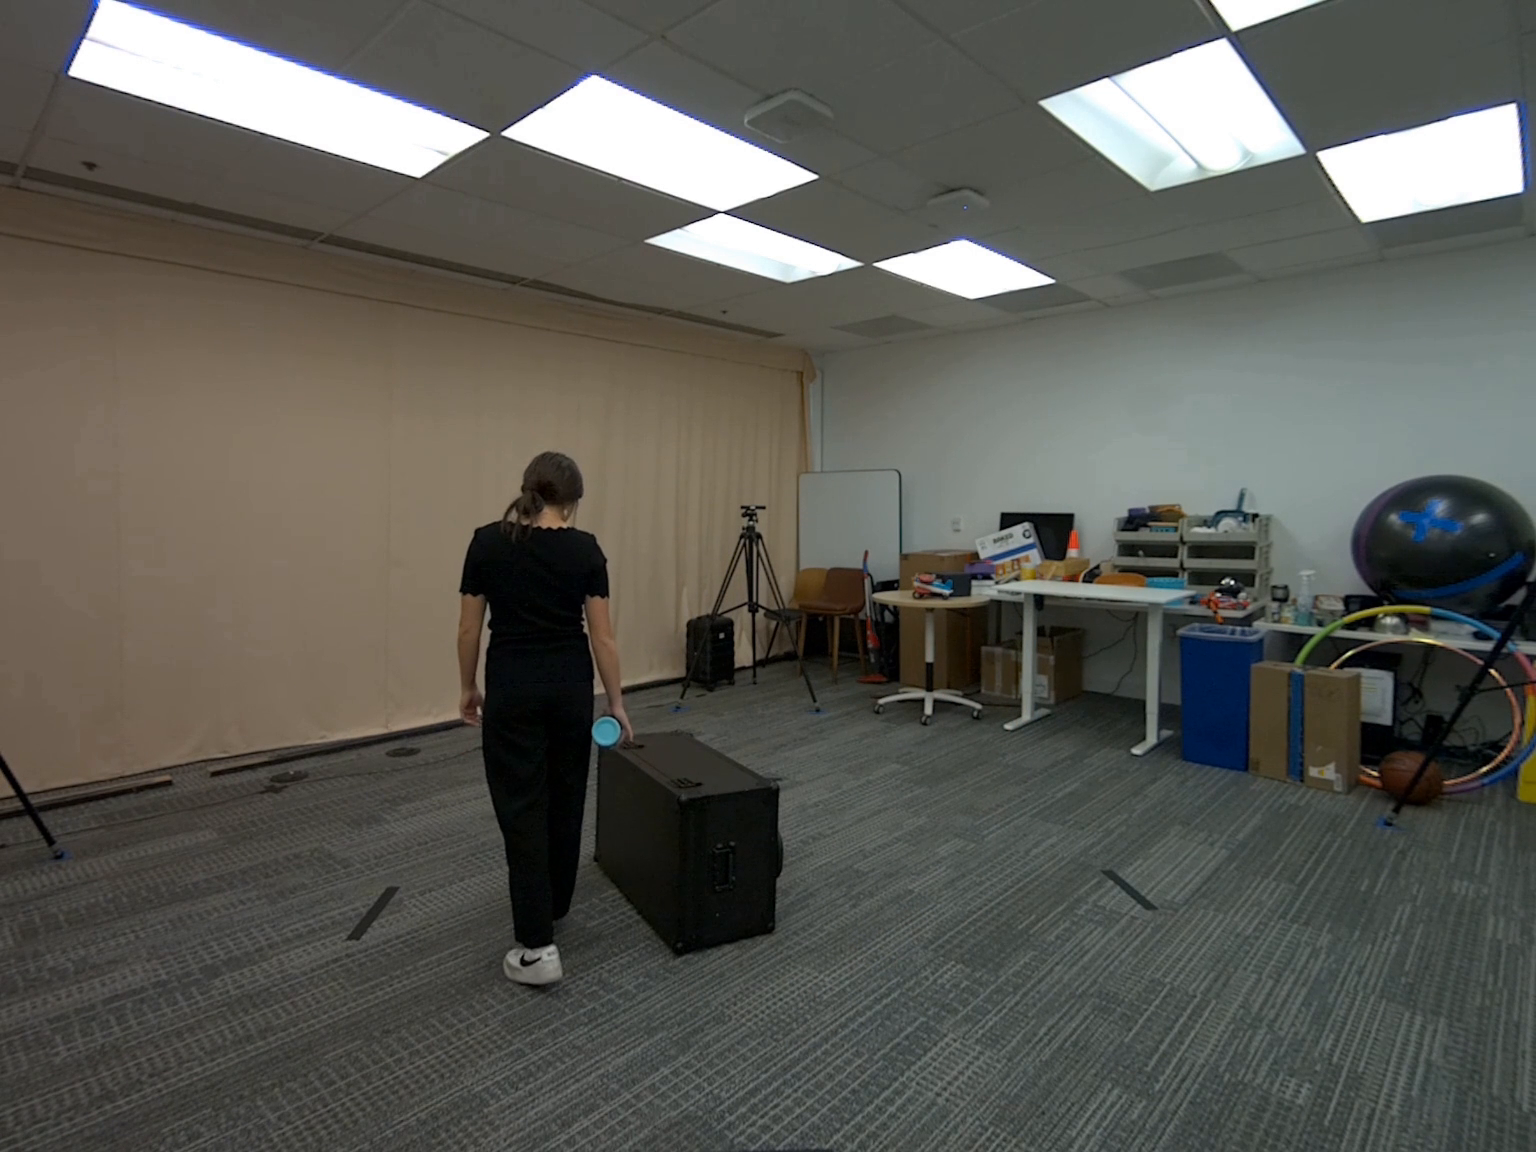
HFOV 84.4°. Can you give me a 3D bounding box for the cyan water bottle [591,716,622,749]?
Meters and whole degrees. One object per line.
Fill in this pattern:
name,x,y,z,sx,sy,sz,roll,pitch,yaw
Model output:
cyan water bottle,-0.530,0.519,2.758,0.091,0.093,0.283,0,-13,-8
